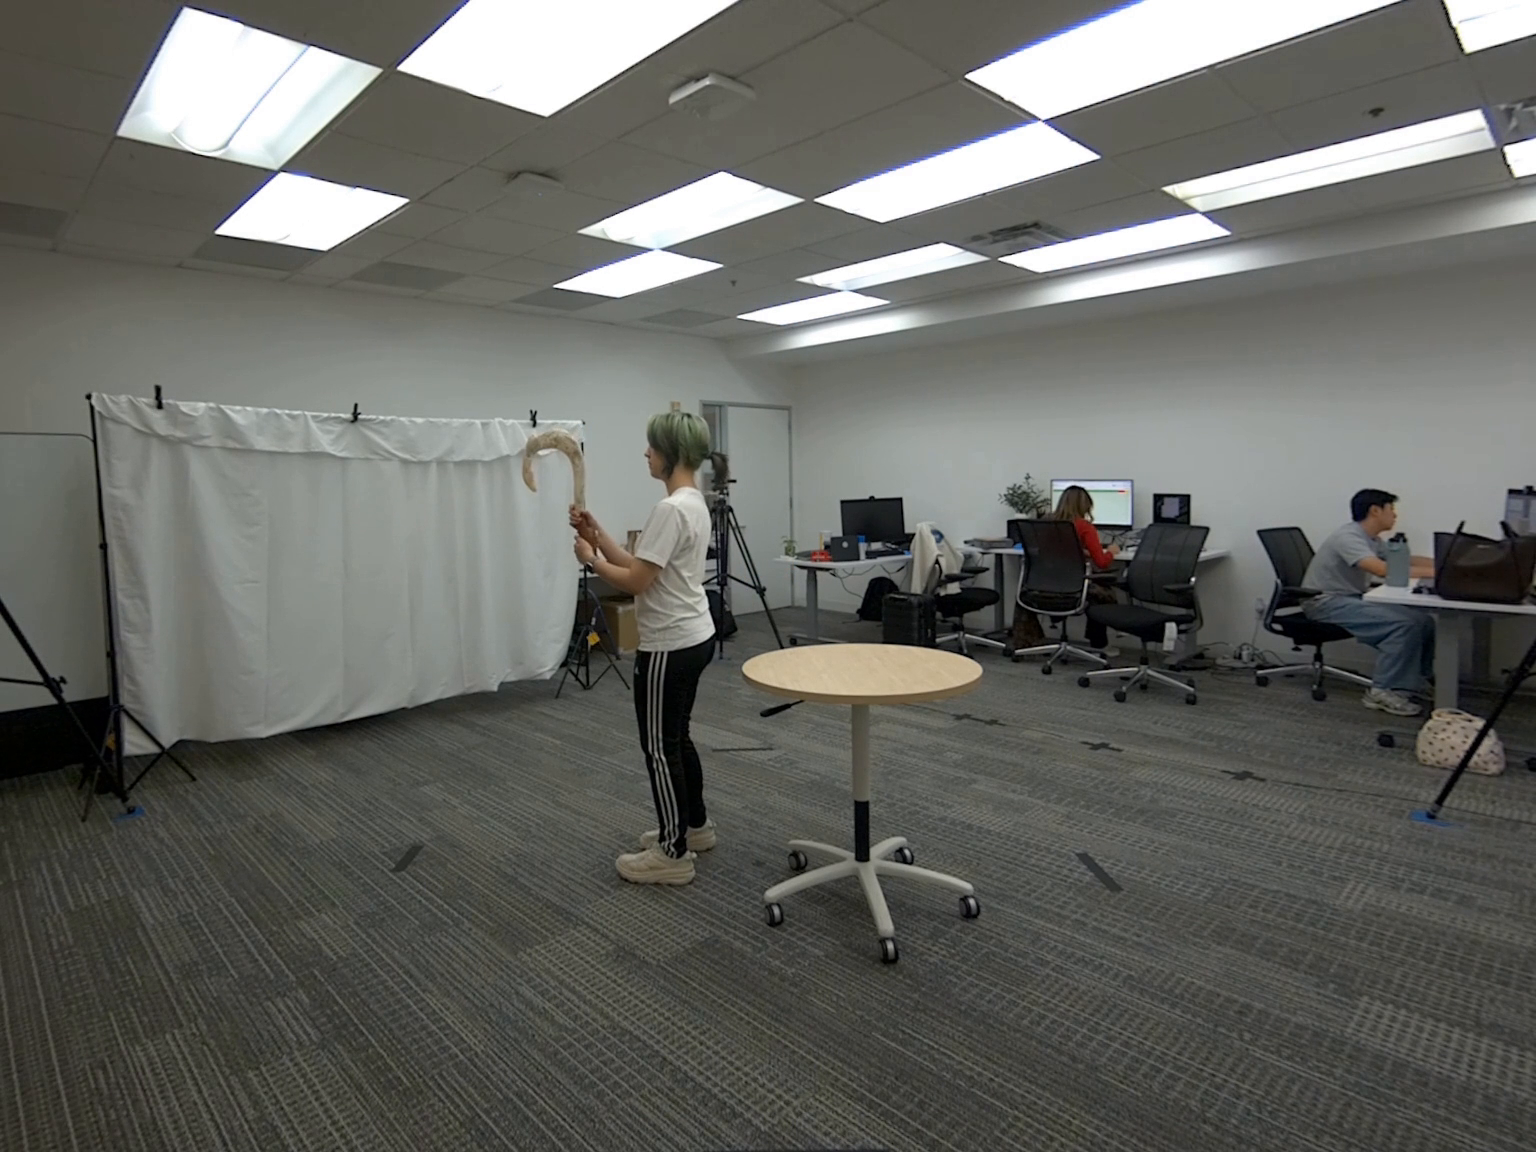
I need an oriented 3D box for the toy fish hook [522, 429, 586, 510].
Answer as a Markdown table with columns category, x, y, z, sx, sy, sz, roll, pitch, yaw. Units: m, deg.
| category | x | y | z | sx | sy | sz | roll | pitch | yaw |
| --- | --- | --- | --- | --- | --- | --- | --- | --- | --- |
| toy fish hook | -0.716 | -0.263 | 2.995 | 0.222 | 0.502 | 0.049 | -17 | 9 | -20 |
